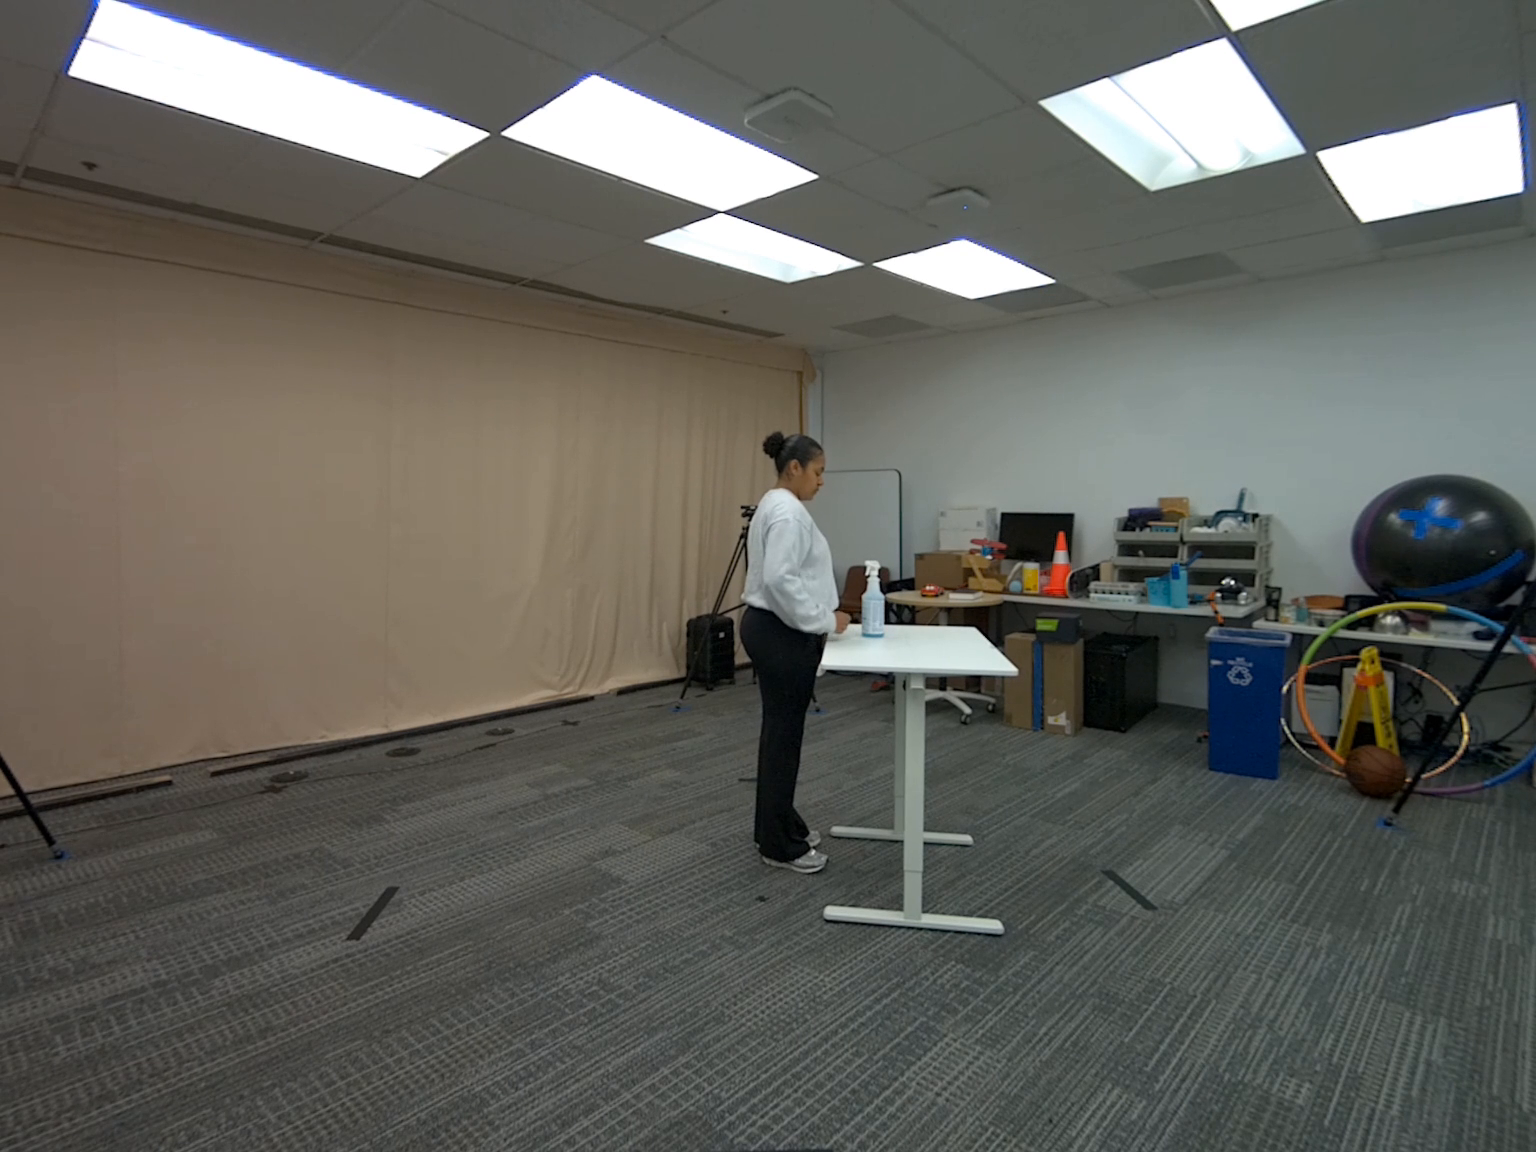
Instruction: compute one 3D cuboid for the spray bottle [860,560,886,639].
[{"bbox_3d":[0.415,0.091,3.279,0.088,0.297,0.089,-1,3,-21],"label":"spray bottle"}]
